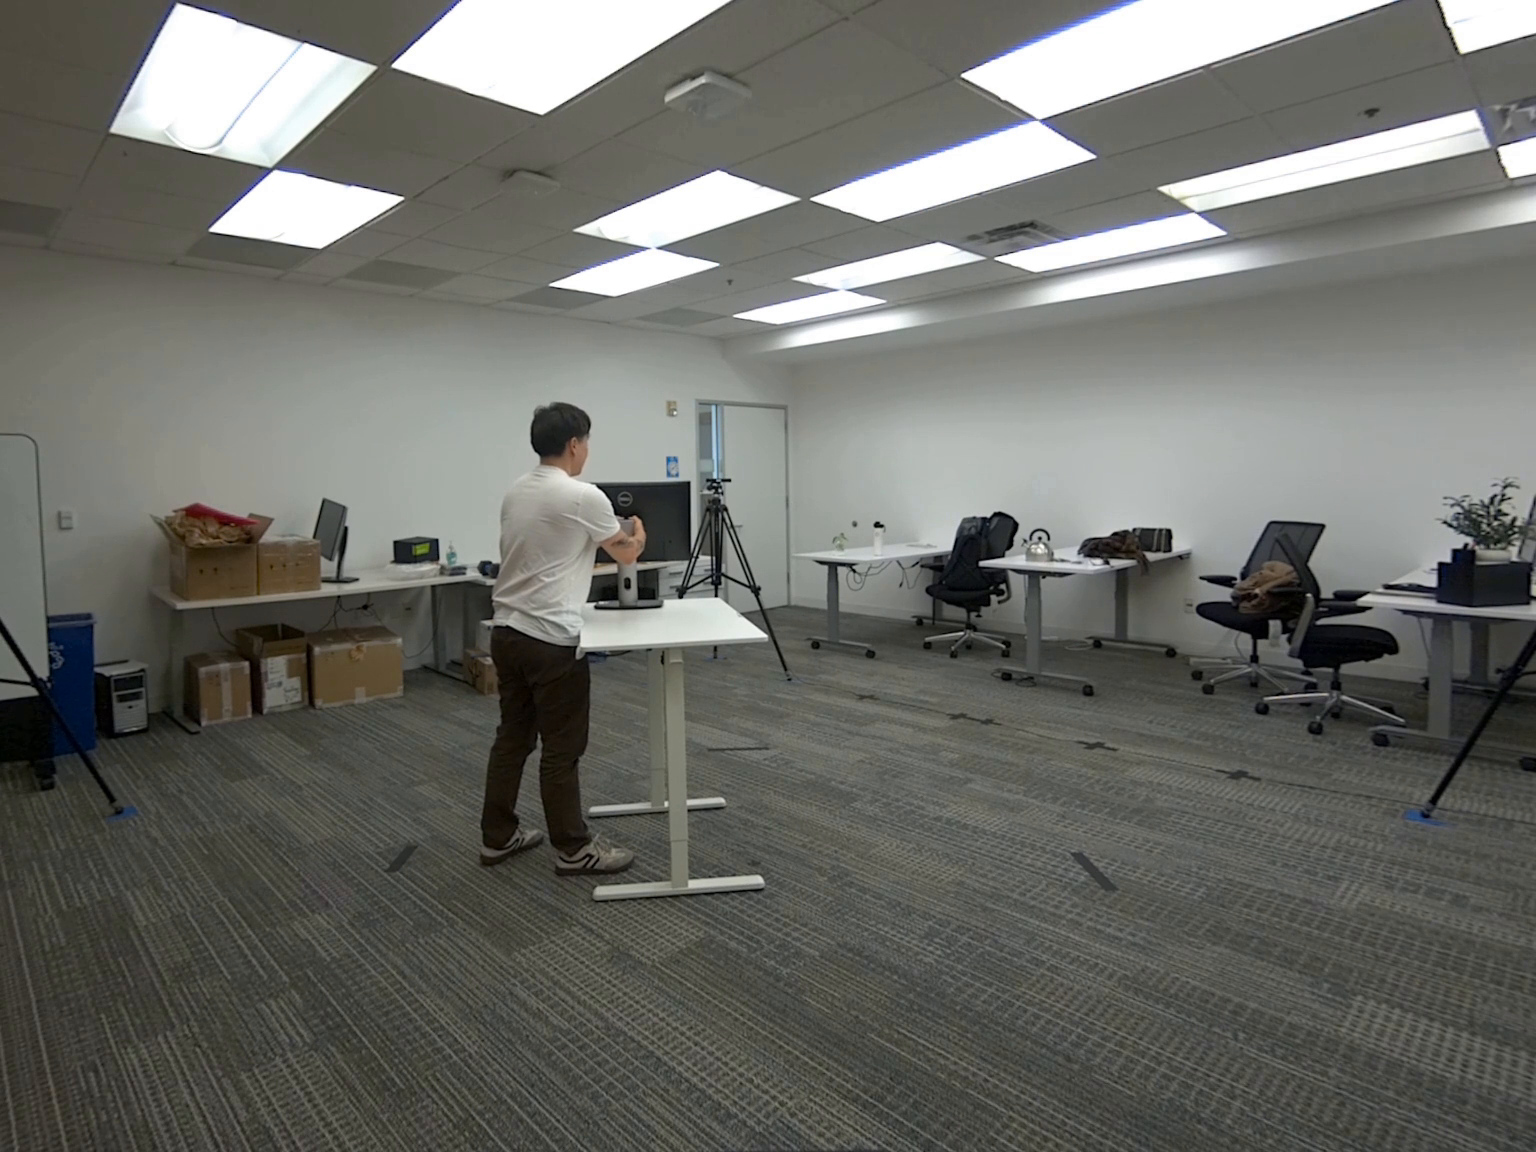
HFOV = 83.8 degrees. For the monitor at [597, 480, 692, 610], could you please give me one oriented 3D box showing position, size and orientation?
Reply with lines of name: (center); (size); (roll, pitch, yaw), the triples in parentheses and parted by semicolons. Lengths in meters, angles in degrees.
monitor: (-0.578, -0.121, 3.500); (0.536, 0.519, 0.189); (-1, 7, -6)
